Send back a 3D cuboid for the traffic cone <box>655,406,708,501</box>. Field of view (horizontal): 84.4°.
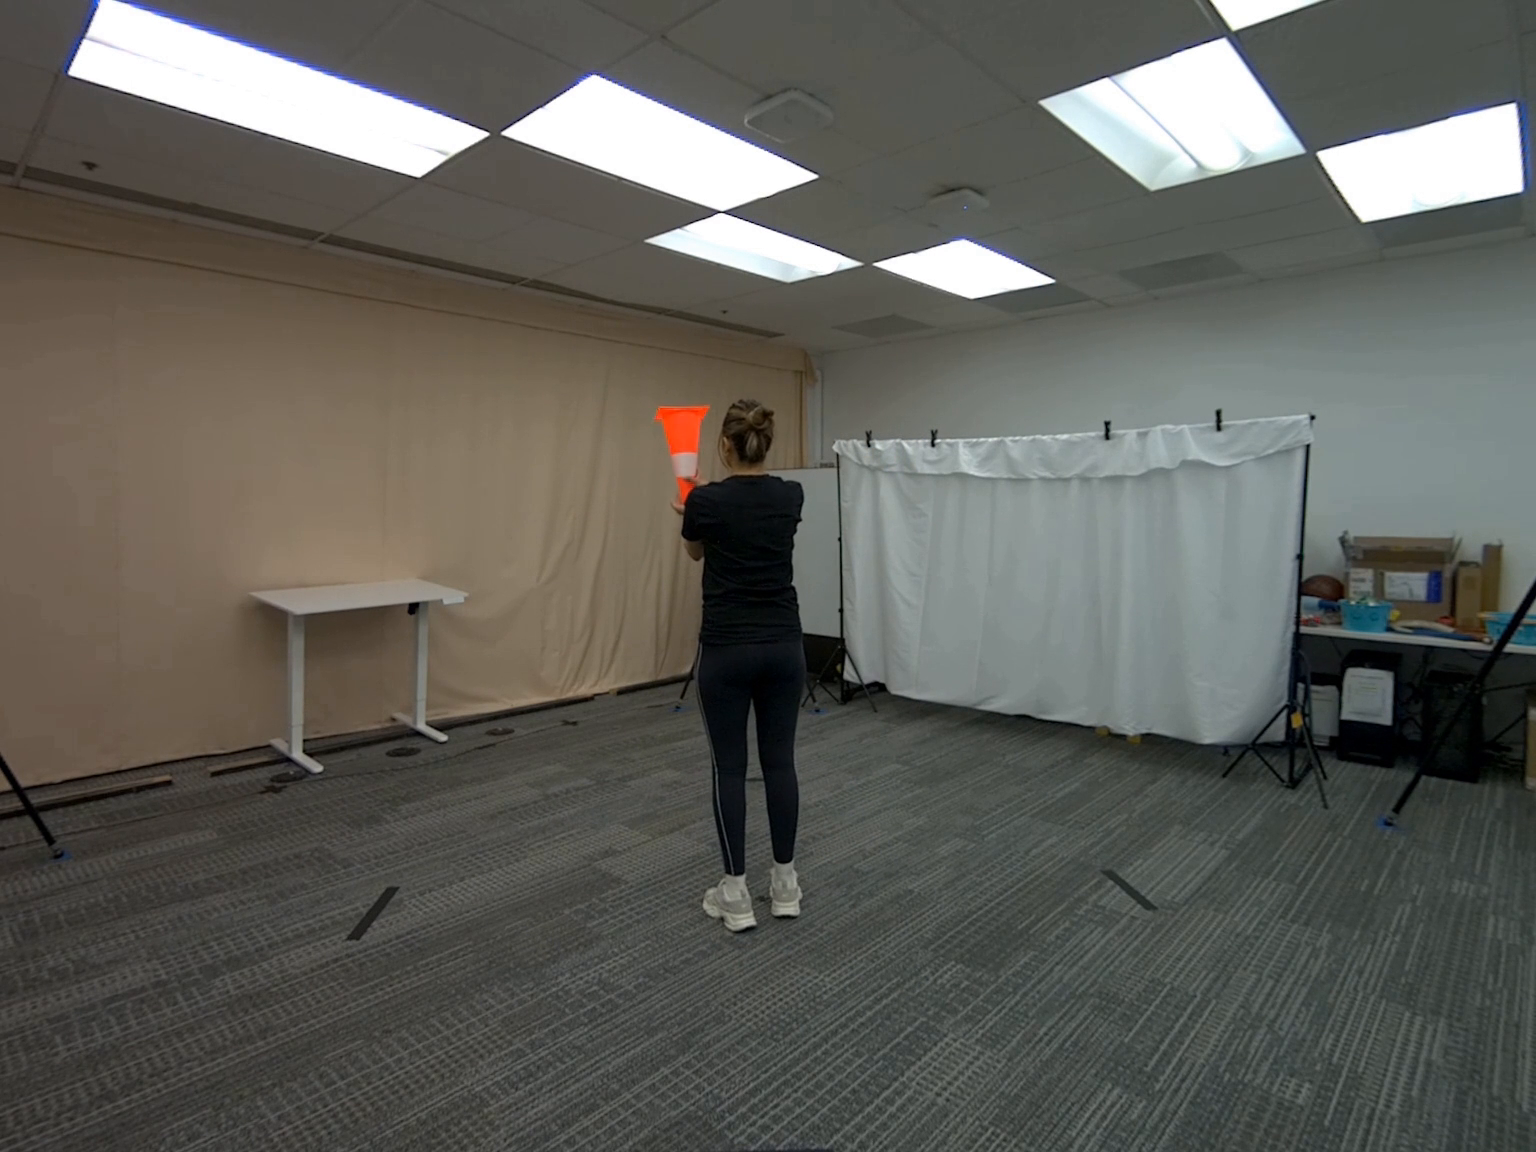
[{"bbox_3d":[-0.327,-0.449,3.310,0.201,0.385,0.207,-2,-4,-12],"label":"traffic cone"}]
